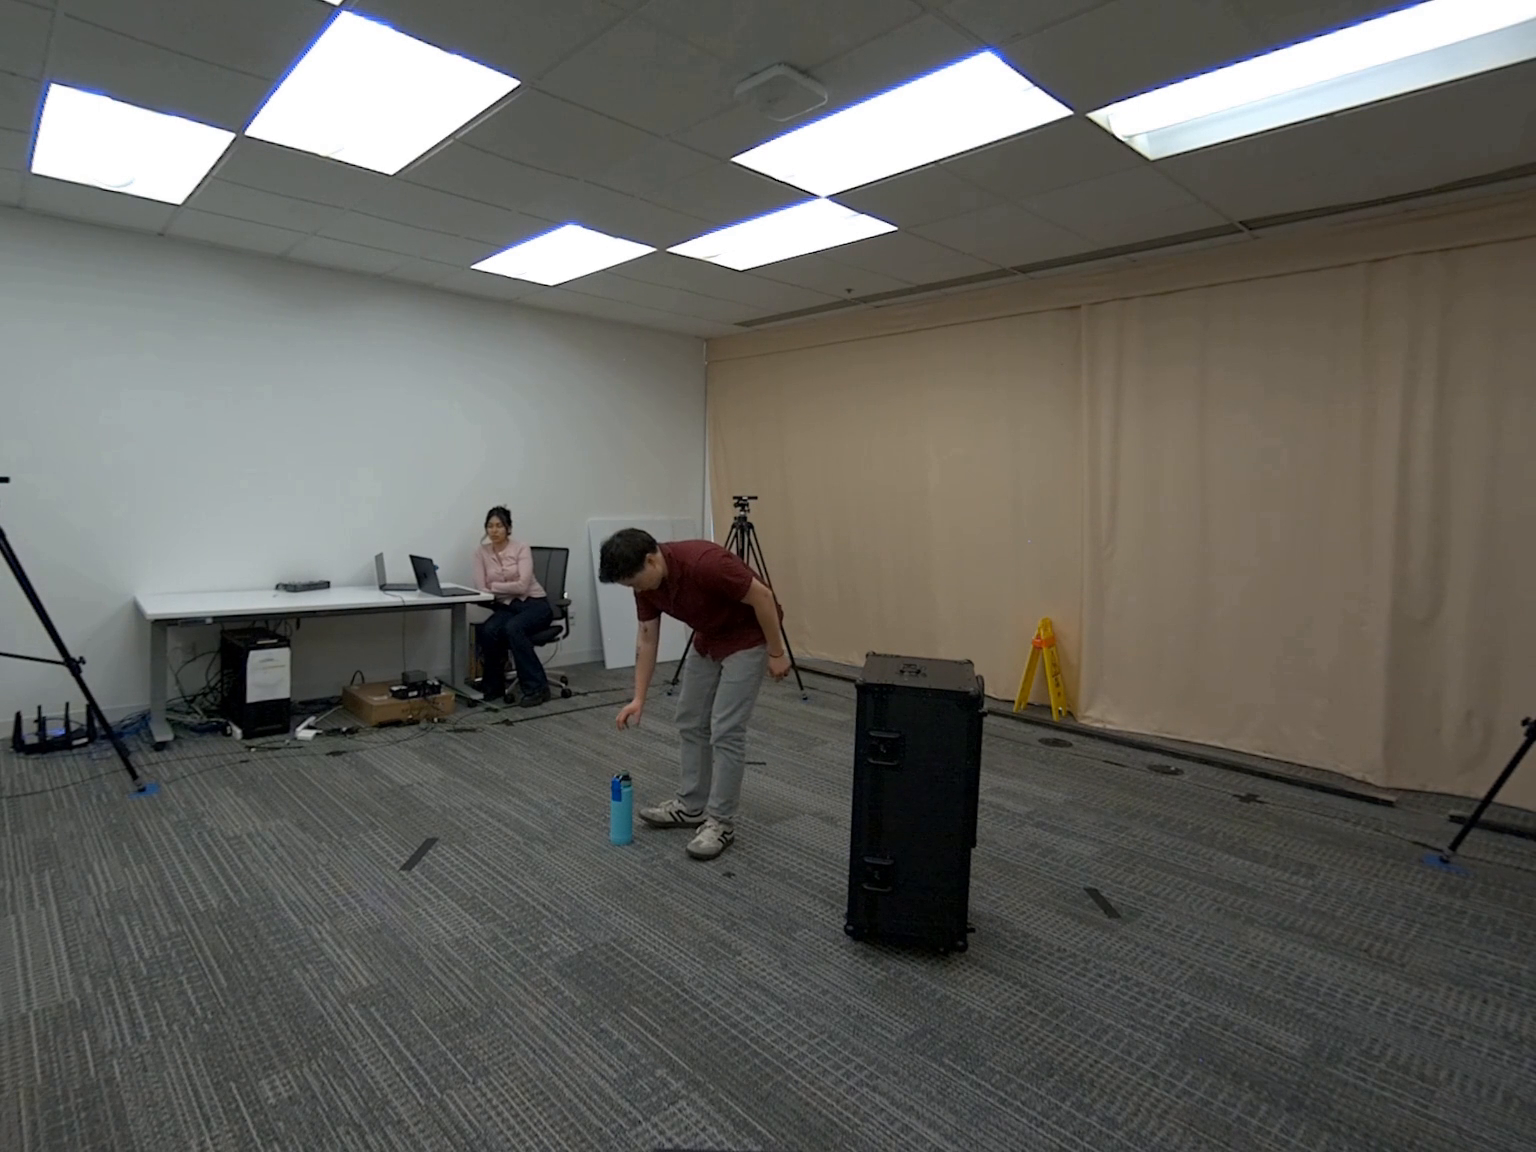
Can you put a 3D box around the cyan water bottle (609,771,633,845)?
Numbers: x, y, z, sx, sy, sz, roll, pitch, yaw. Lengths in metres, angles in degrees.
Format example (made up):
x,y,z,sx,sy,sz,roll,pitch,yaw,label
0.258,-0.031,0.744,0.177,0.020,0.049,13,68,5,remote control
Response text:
x,y,z,sx,sy,sz,roll,pitch,yaw,label
-0.589,0.924,3.374,0.092,0.282,0.092,3,4,-2,cyan water bottle
